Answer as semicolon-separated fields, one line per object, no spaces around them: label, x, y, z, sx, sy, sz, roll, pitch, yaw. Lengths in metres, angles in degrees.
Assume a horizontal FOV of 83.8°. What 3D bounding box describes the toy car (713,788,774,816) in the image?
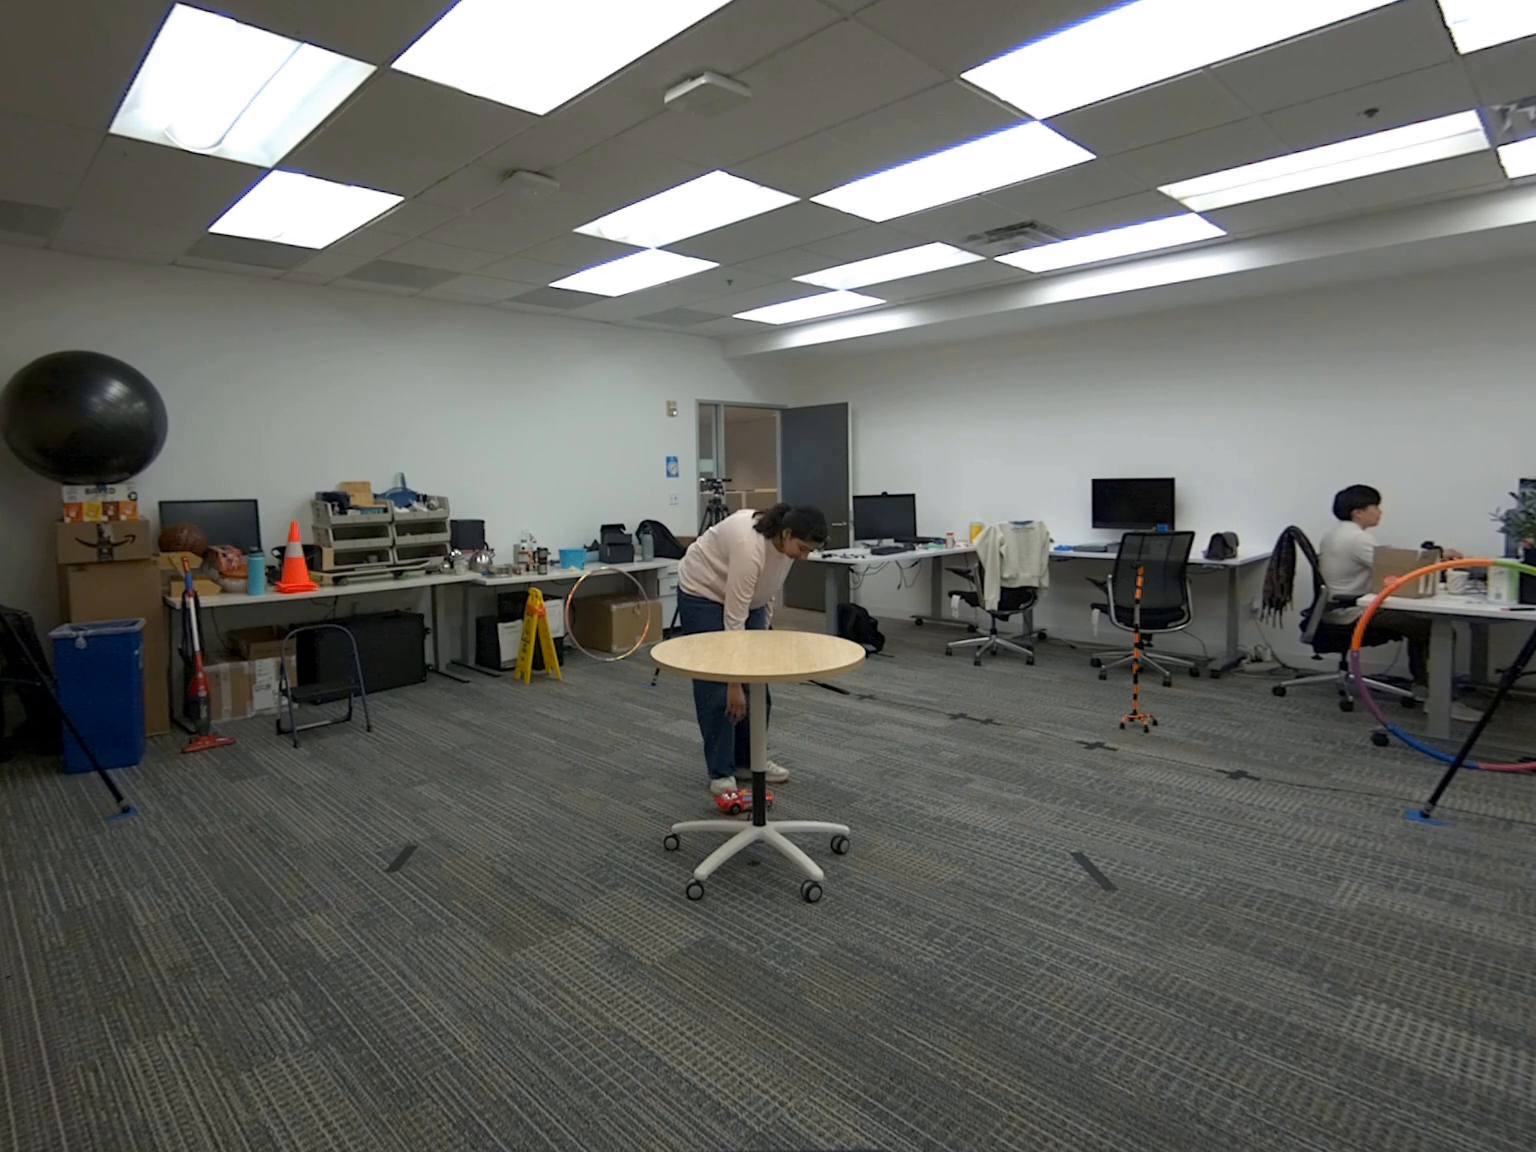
toy car;-0.117;0.961;3.628;0.249;0.083;0.133;9;0;-19
